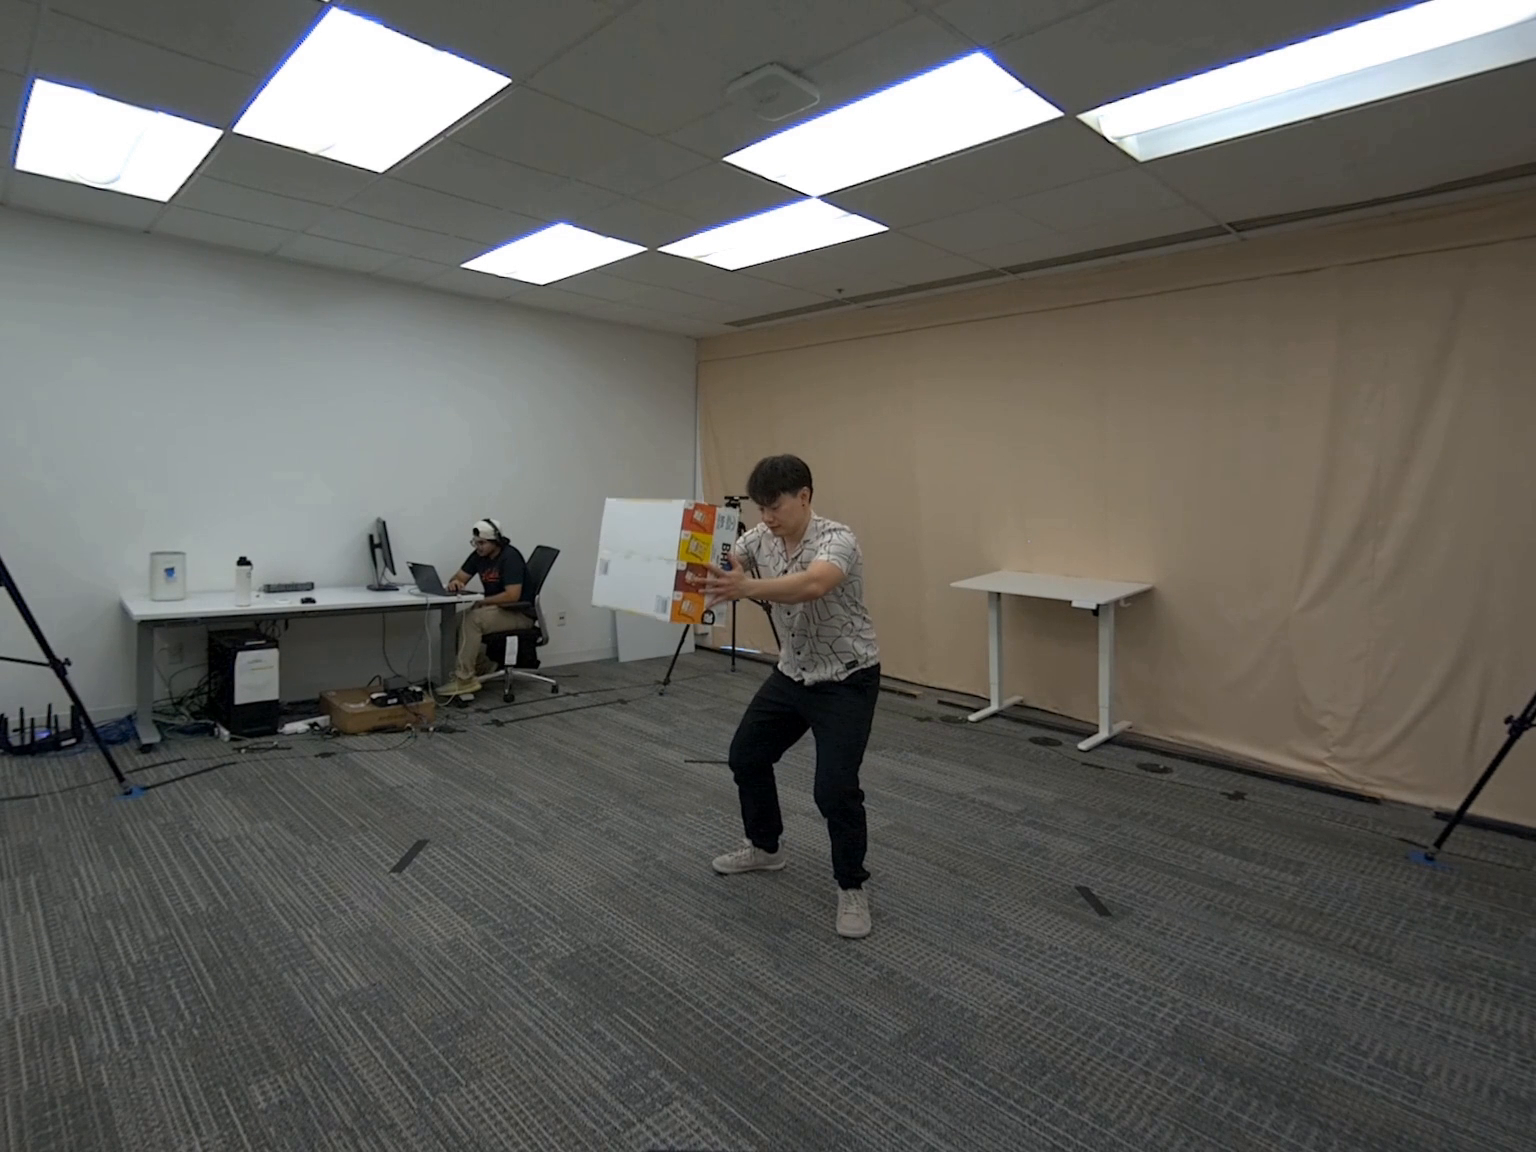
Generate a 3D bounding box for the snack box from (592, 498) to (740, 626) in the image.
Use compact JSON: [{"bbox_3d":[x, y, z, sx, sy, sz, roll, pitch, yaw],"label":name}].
[{"bbox_3d":[-0.314,-0.044,2.491,0.200,0.341,0.415,9,-3,-43],"label":"snack box"}]
